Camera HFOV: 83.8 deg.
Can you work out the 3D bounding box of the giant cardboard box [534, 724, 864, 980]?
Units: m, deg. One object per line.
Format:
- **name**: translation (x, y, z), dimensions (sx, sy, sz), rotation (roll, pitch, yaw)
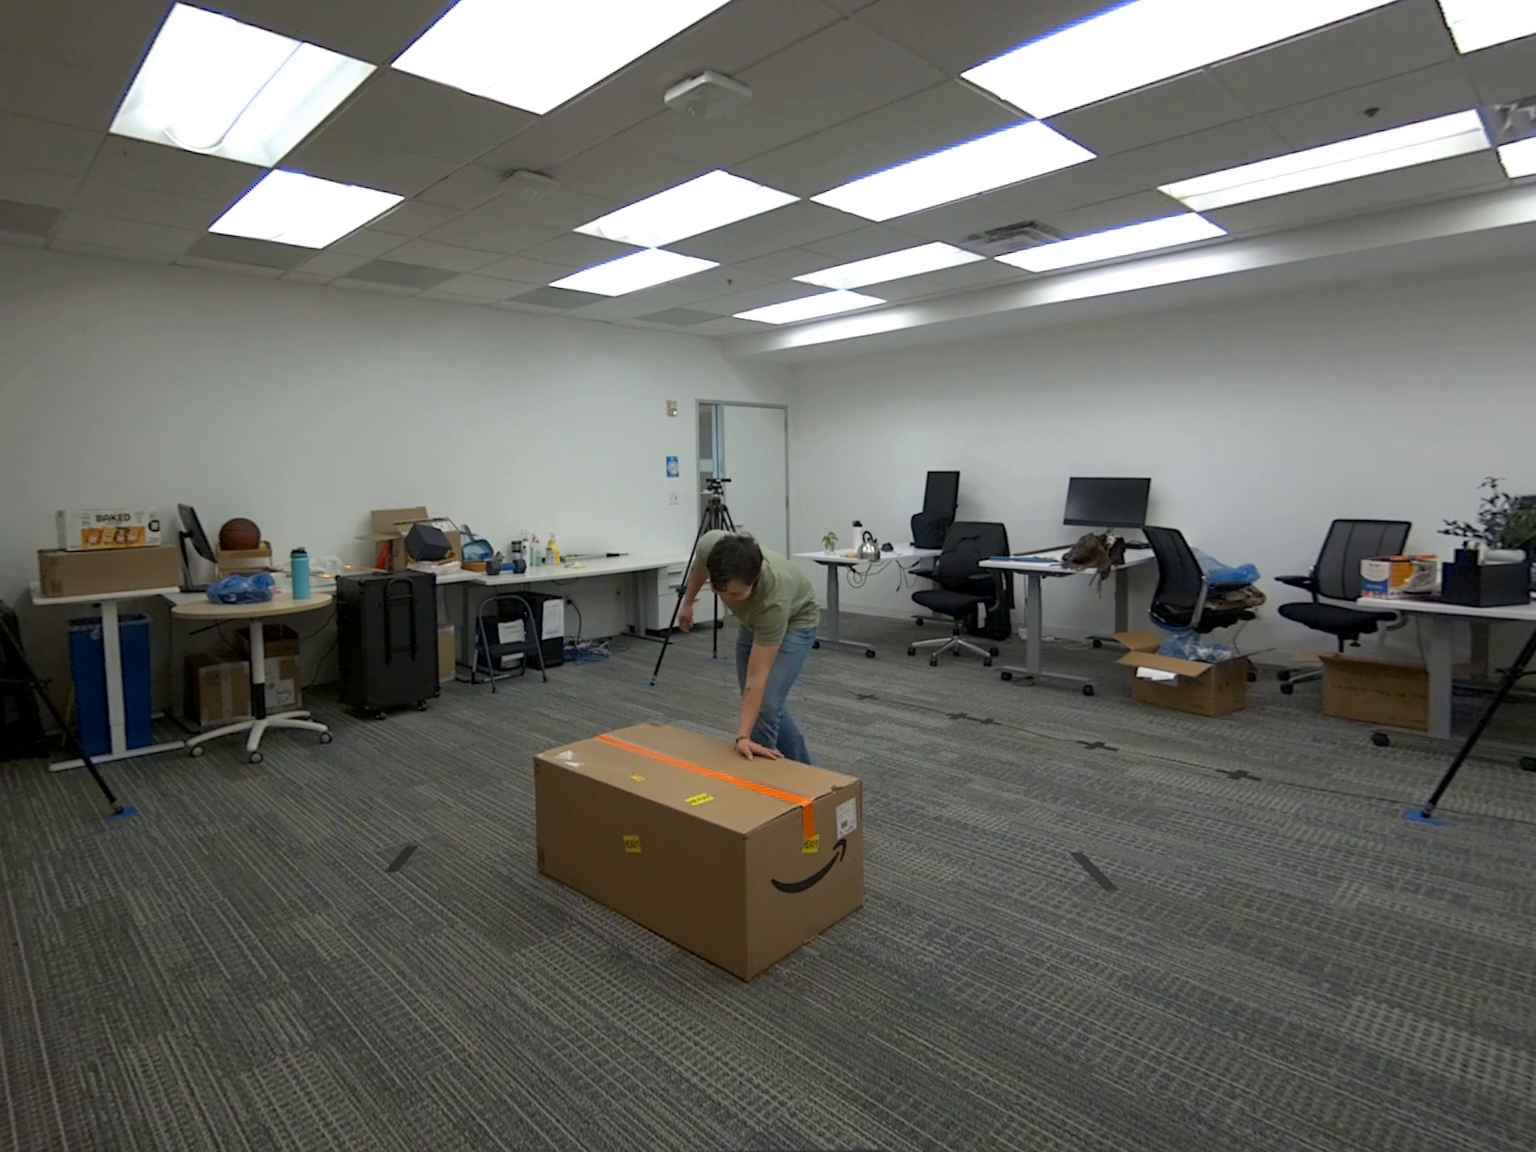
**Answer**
- **giant cardboard box**: translation (-0.261, 0.856, 2.918), dimensions (1.057, 0.424, 0.563), rotation (5, 8, 42)
